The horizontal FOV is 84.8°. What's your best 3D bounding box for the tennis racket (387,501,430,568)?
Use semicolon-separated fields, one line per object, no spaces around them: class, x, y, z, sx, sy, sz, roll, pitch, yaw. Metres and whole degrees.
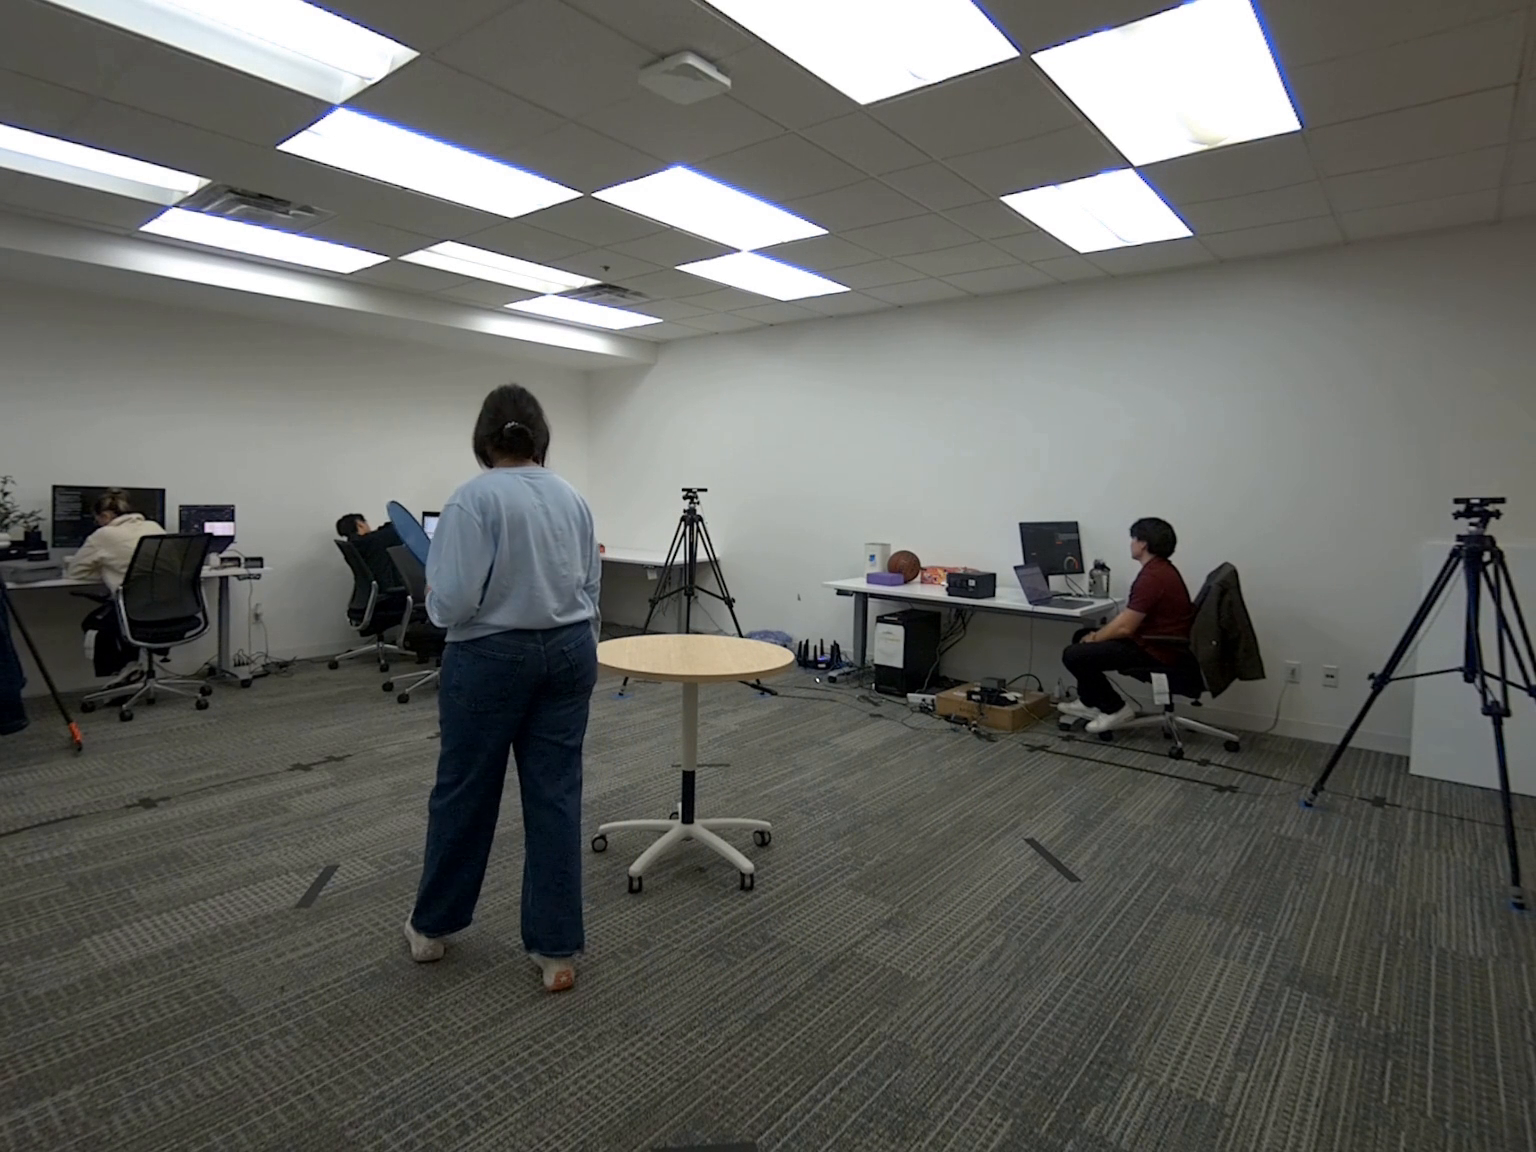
tennis racket;-1.025;-0.065;2.553;0.032;0.447;0.207;-34;-23;-3
